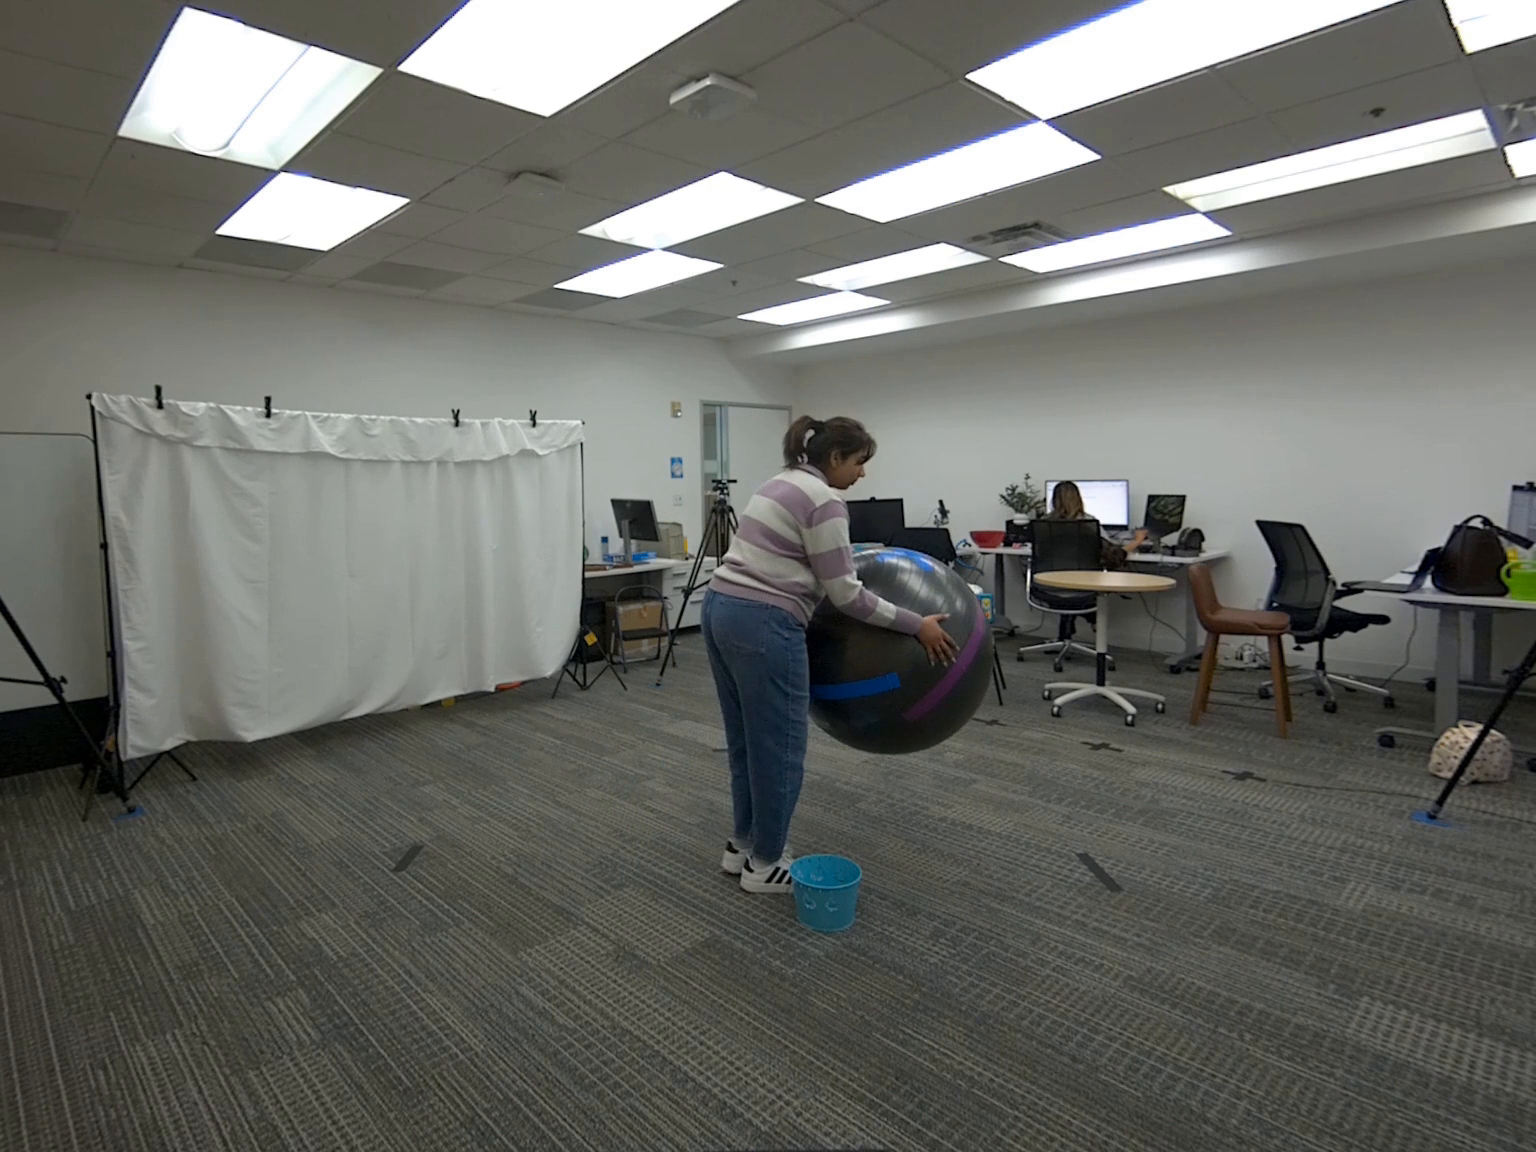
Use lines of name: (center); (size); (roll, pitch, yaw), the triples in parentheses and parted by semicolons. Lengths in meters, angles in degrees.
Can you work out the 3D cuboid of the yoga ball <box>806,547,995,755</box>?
yoga ball: (0.444, 0.286, 3.165); (0.757, 0.755, 0.762); (-1, 5, -2)
